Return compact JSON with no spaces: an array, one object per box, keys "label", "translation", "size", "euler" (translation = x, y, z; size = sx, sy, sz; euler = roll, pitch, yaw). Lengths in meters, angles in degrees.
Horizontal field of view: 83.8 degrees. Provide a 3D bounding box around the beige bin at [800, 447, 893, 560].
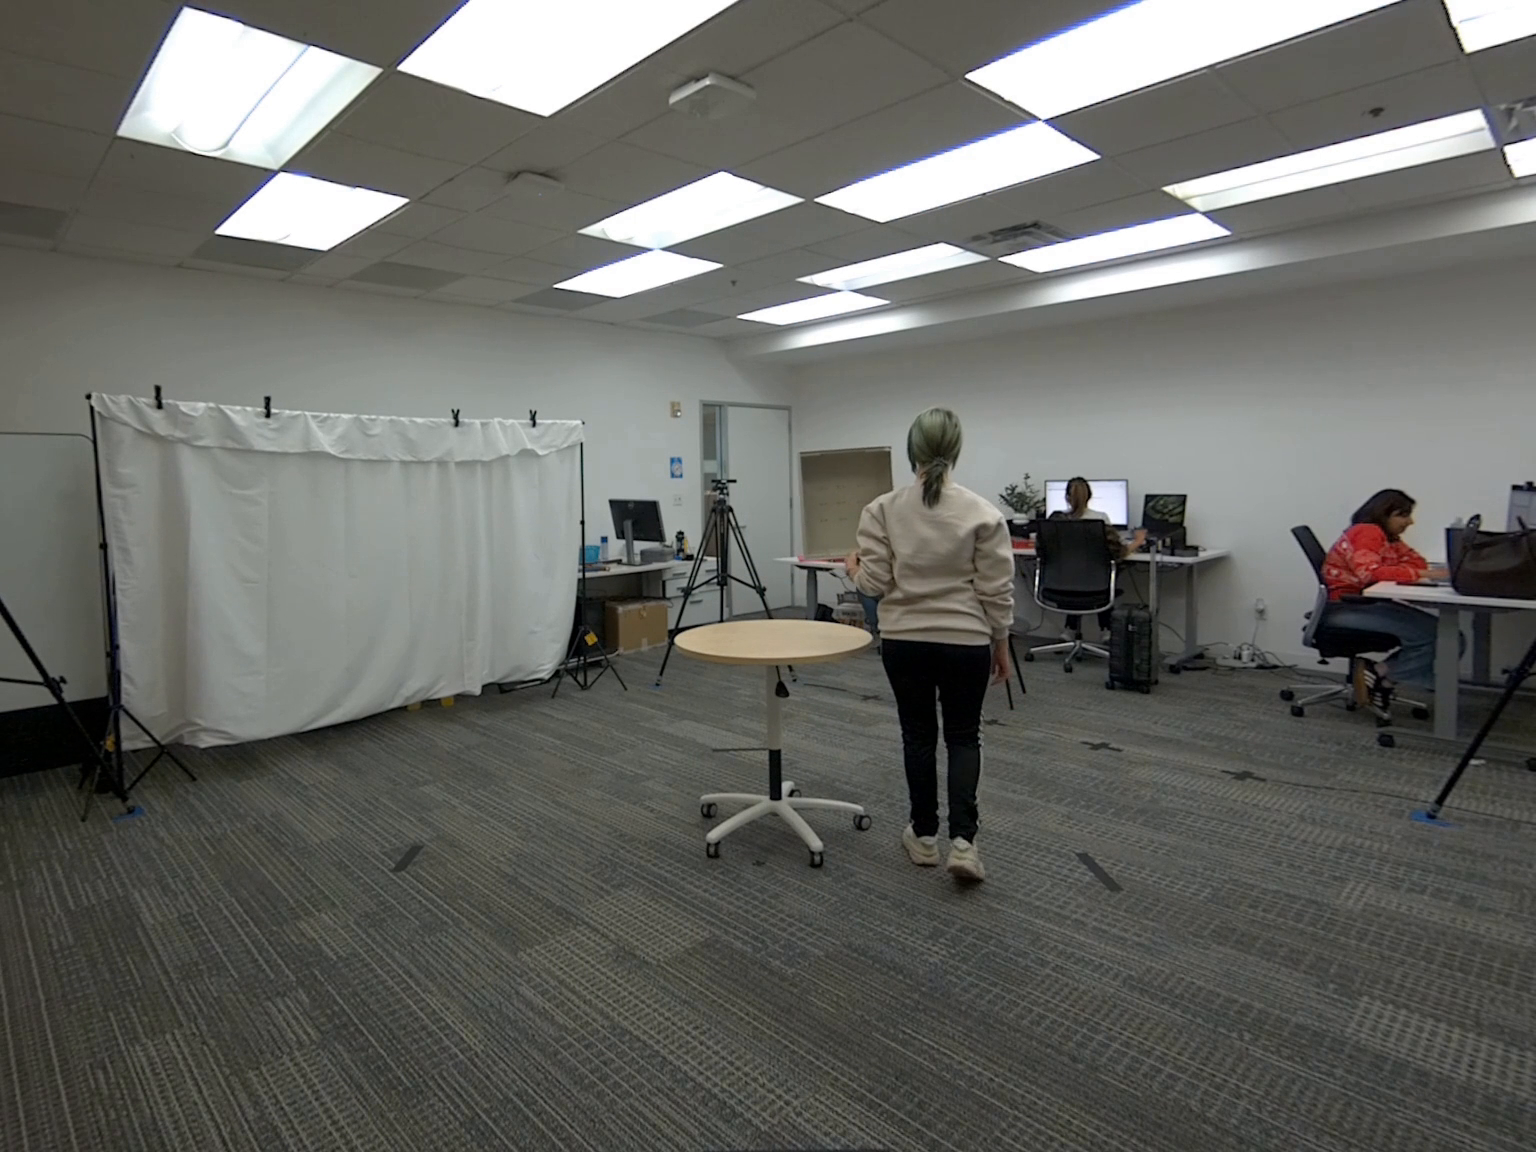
[{"label":"beige bin","translation":[0.310,-0.287,3.352],"size":[0.378,0.420,0.189],"euler":[-4,5,3]}]
